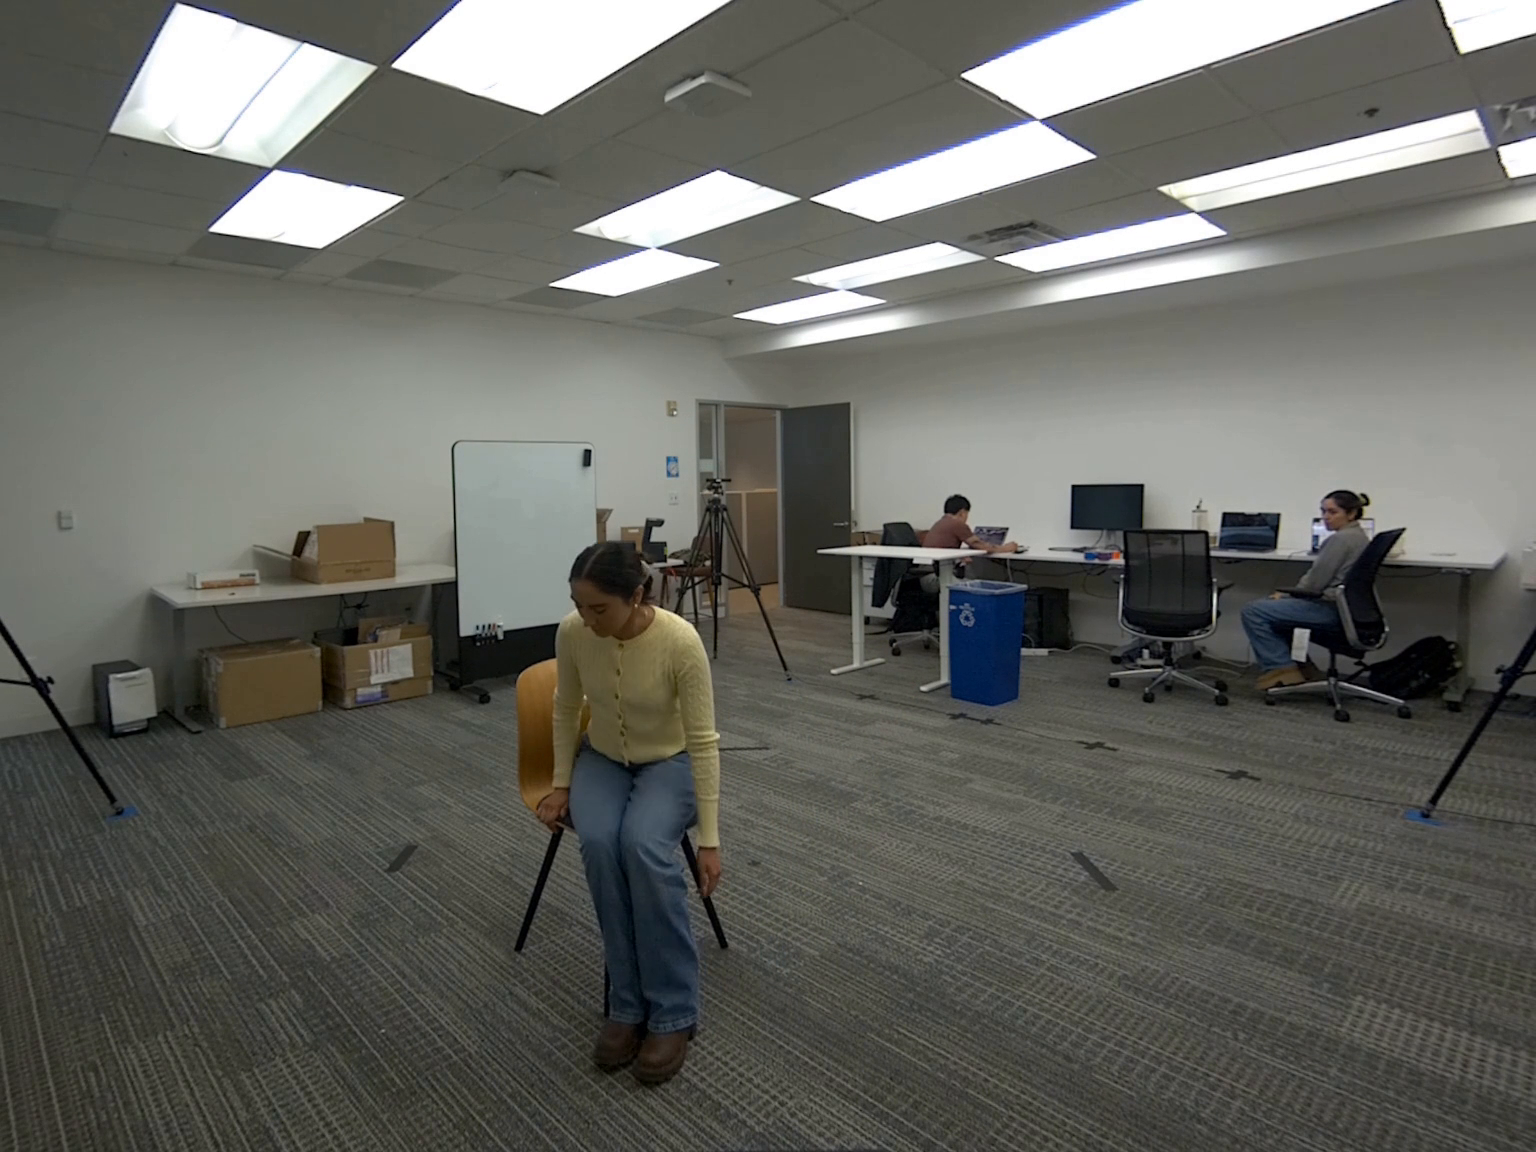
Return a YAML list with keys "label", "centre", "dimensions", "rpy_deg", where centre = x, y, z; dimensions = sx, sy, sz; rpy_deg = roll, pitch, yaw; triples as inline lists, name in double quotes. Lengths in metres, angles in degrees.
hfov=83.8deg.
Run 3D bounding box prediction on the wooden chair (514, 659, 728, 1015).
- label: "wooden chair"
  centre: [-0.433, 0.697, 2.514]
  dimensions: [0.538, 0.876, 0.465]
  rpy_deg: [-2, 3, 44]
